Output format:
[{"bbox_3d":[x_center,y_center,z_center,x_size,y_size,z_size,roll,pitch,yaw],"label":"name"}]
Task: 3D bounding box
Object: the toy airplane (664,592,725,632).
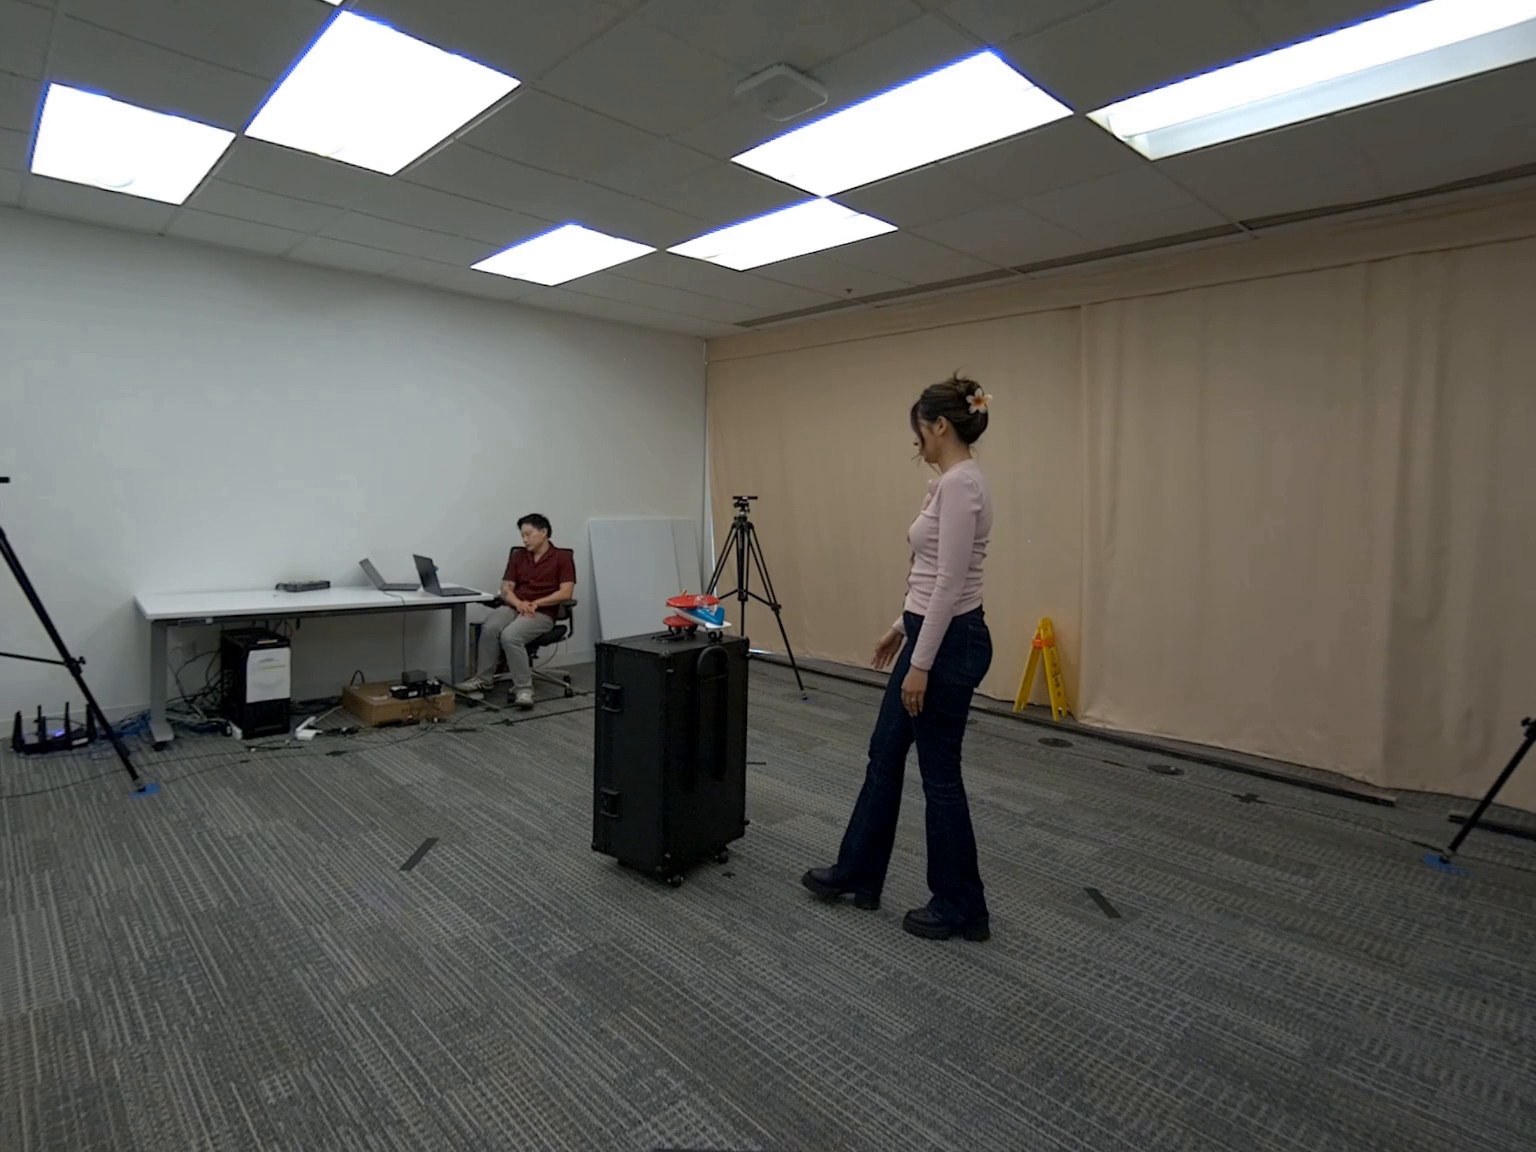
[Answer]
[{"bbox_3d":[-0.278,0.158,3.271,0.262,0.156,0.249,2,5,14],"label":"toy airplane"}]
